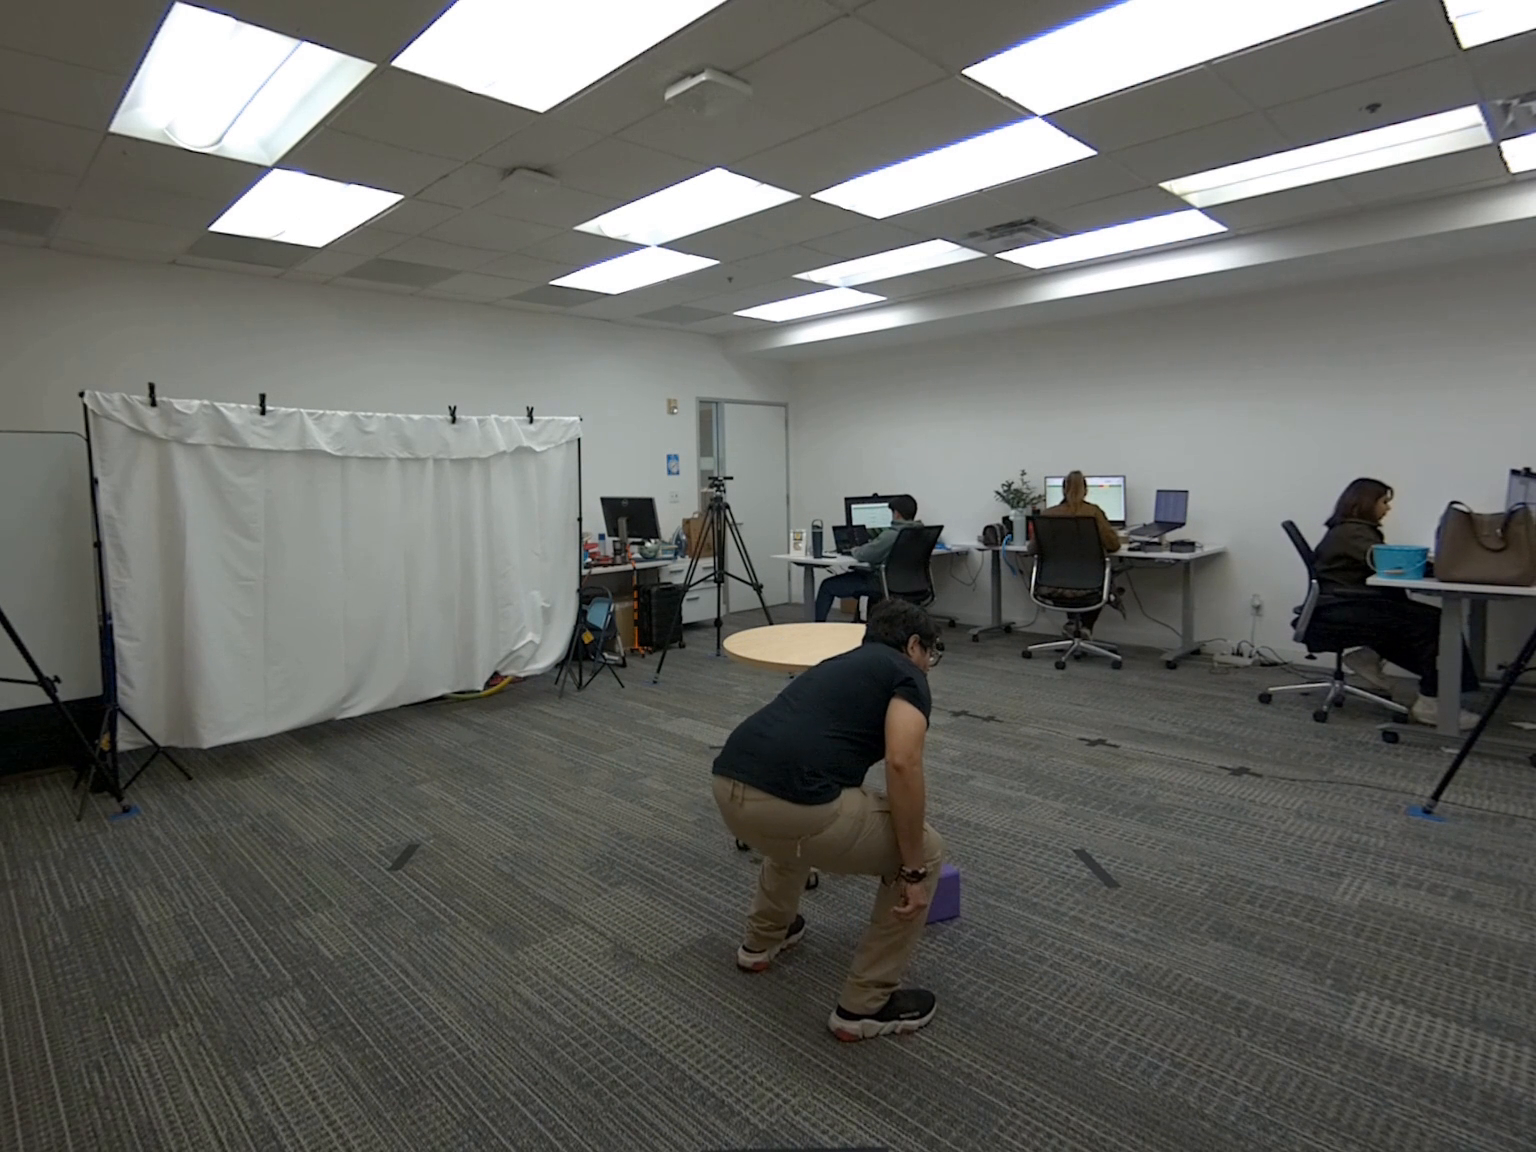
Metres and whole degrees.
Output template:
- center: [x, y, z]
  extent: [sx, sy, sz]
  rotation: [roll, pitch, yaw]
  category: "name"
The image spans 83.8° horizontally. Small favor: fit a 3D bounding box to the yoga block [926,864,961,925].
- center: [0.499, 1.003, 2.672]
  extent: [0.225, 0.148, 0.078]
  rotation: [-4, 4, -23]
  category: "yoga block"
